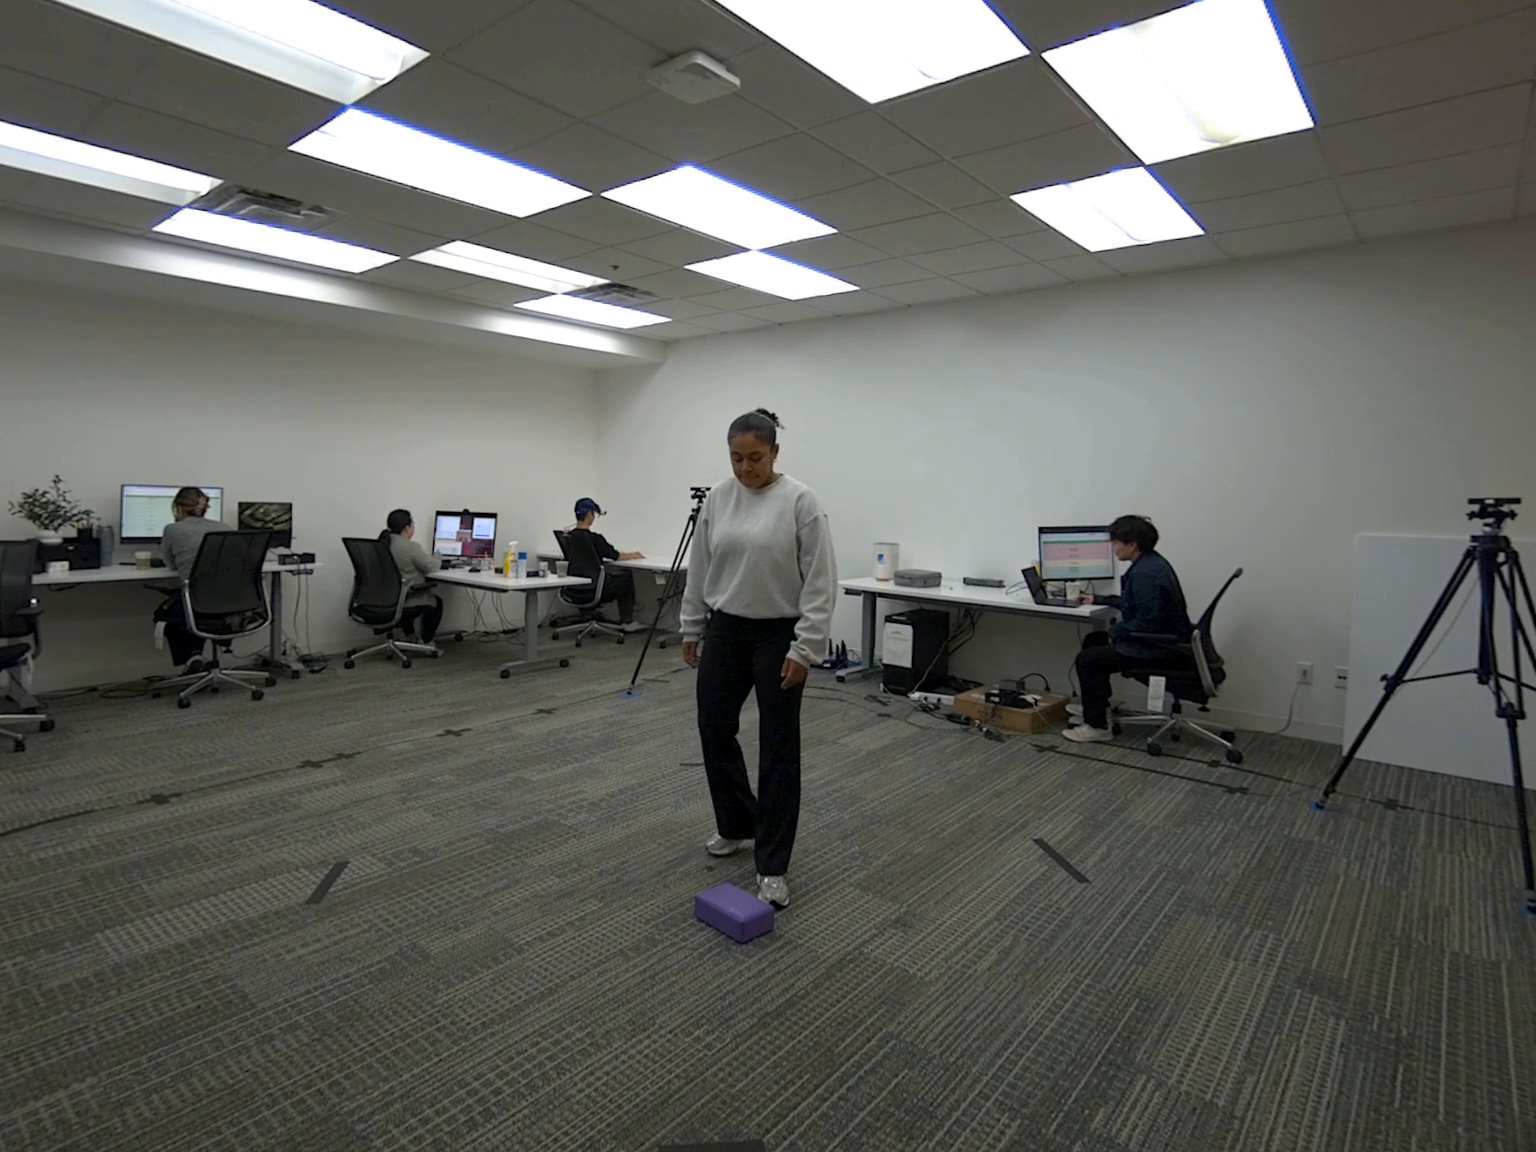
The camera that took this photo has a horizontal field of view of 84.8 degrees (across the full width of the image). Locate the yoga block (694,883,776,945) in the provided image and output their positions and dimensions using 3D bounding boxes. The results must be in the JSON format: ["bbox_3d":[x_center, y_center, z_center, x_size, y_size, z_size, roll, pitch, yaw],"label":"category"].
[{"bbox_3d":[-0.116,1.064,2.711,0.144,0.076,0.237,-4,8,-44],"label":"yoga block"}]
